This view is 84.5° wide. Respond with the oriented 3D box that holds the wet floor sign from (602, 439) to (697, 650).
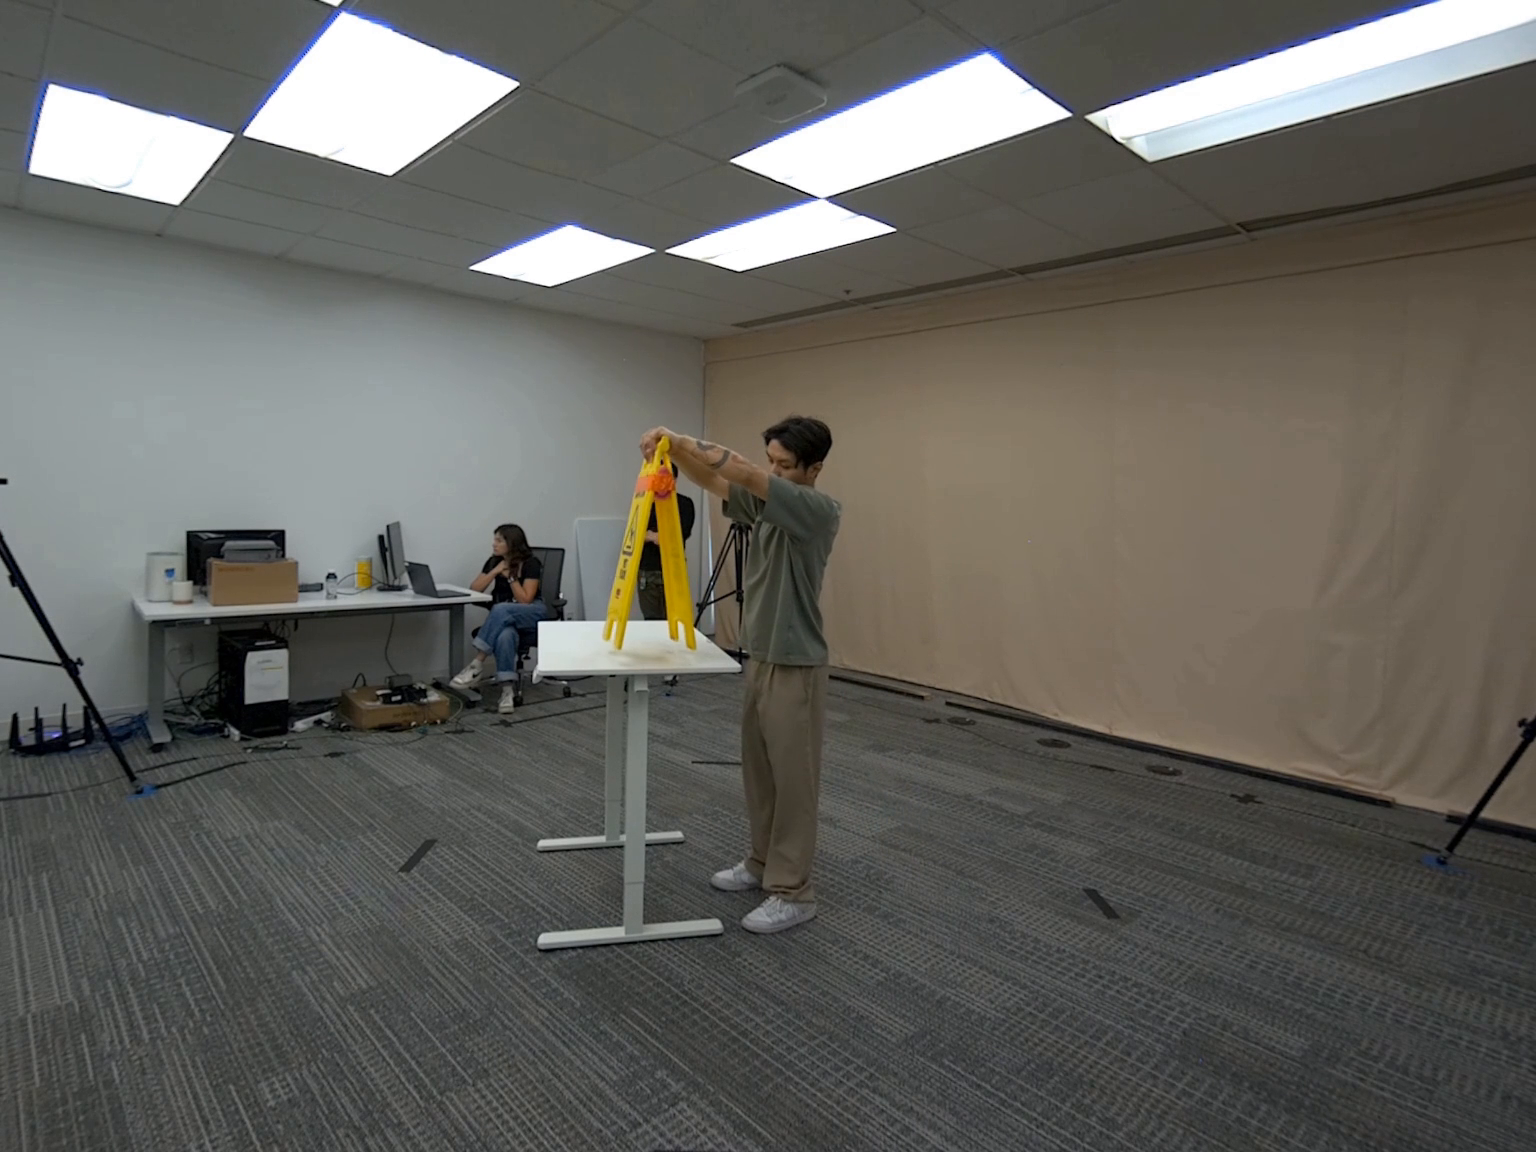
[{"bbox_3d":[-0.370,-0.107,2.644,0.285,0.645,0.287,2,1,-20],"label":"wet floor sign"}]
